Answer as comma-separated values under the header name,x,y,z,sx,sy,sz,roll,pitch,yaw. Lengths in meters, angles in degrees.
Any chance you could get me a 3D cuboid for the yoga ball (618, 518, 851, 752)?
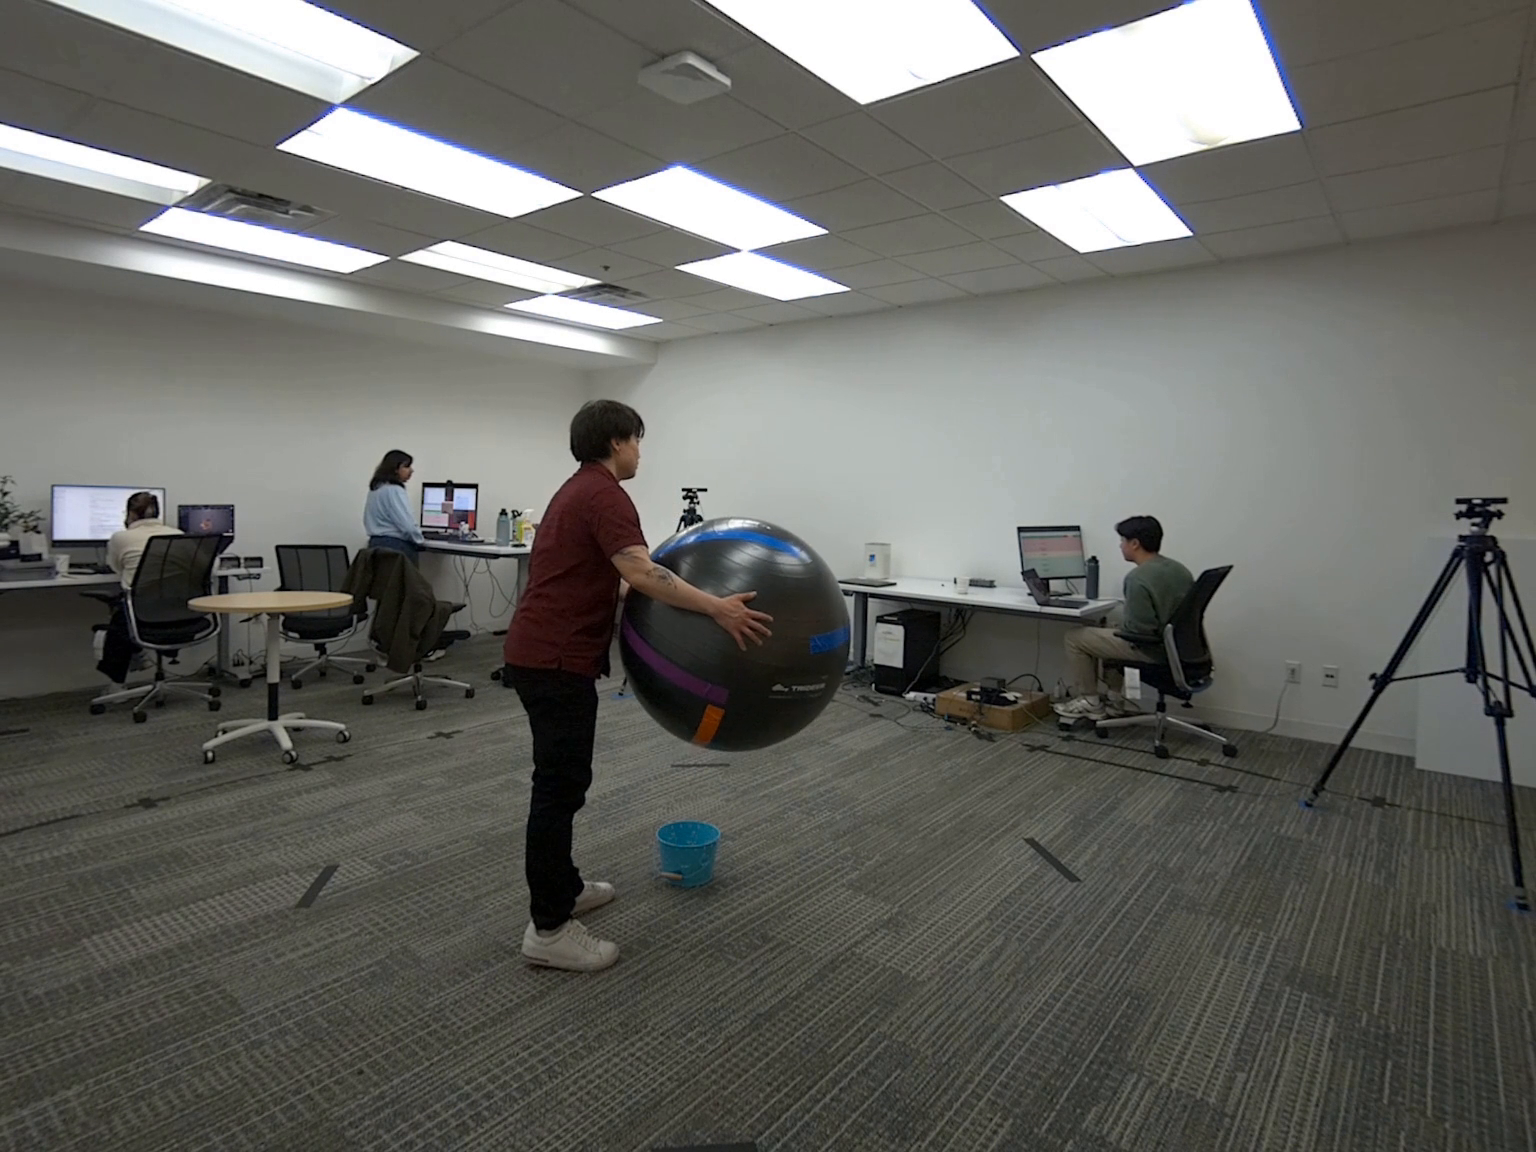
name,x,y,z,sx,sy,sz,roll,pitch,yaw
yoga ball,-0.117,0.194,2.787,0.757,0.756,0.761,1,4,-2
